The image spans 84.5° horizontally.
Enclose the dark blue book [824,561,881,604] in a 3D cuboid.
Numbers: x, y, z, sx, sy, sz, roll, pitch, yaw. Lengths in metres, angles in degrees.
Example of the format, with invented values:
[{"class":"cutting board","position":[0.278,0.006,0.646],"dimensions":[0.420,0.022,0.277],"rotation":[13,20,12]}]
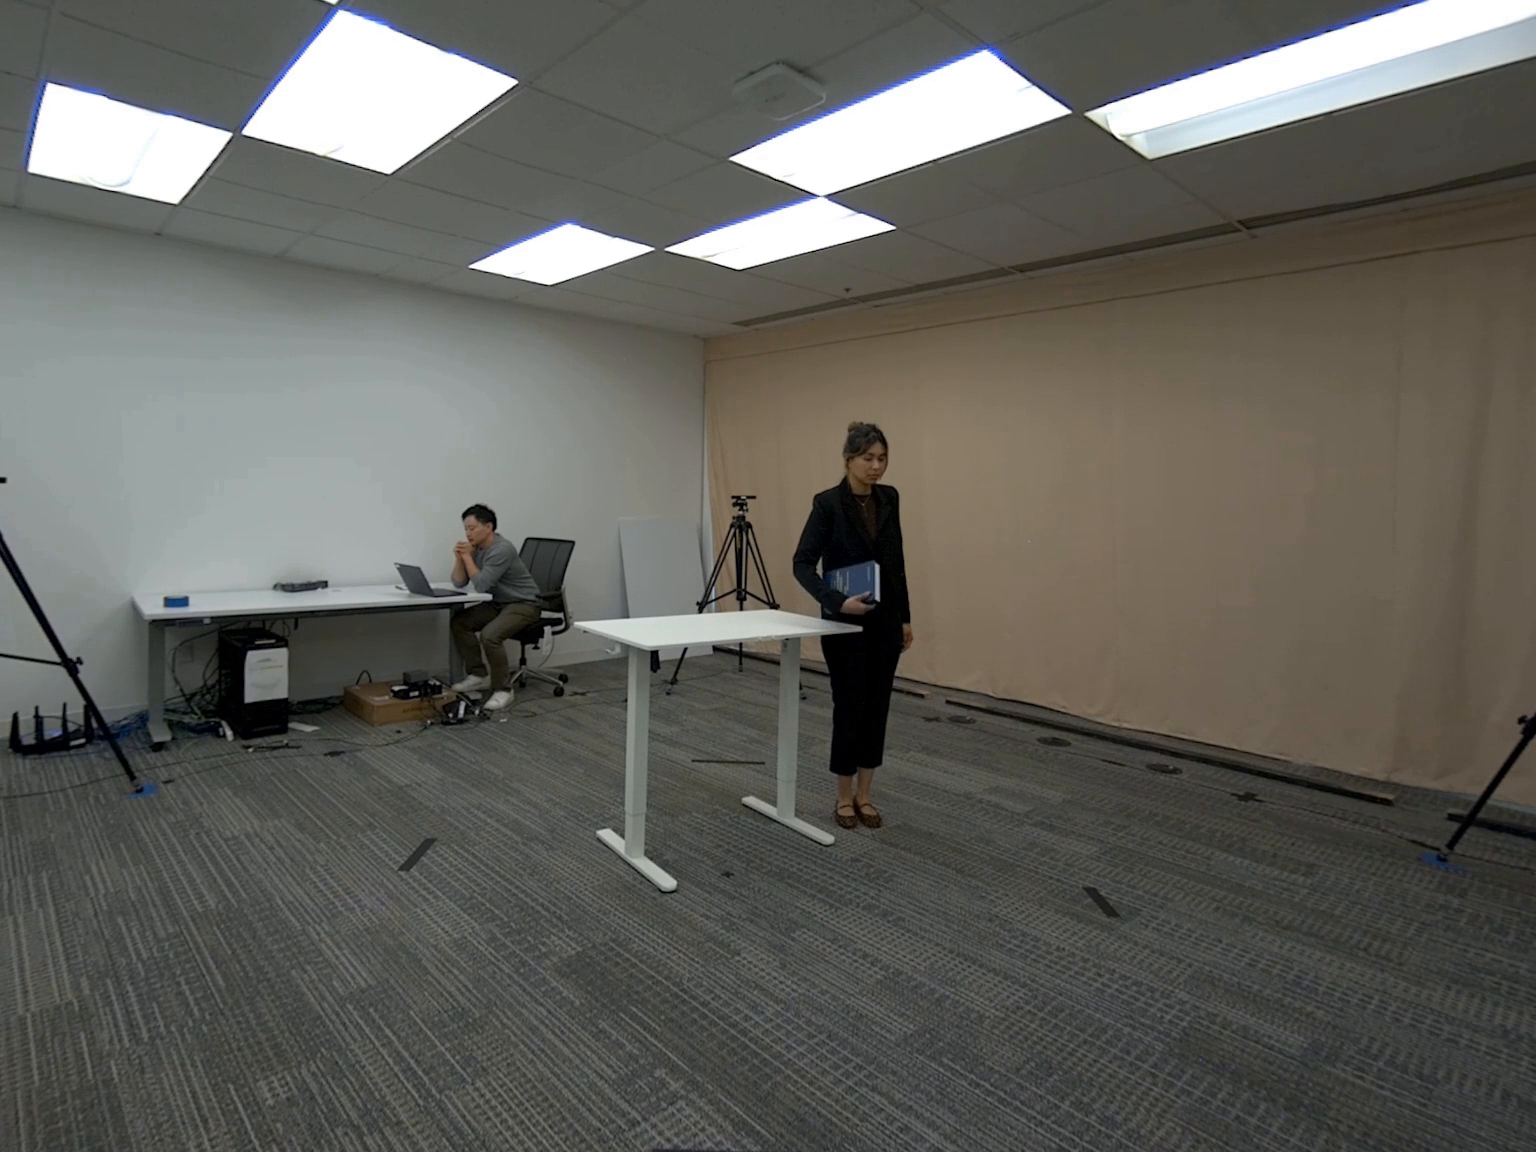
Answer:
[{"class":"dark blue book","position":[0.319,0.045,3.359],"dimensions":[0.249,0.166,0.044],"rotation":[-17,-29,39]}]
